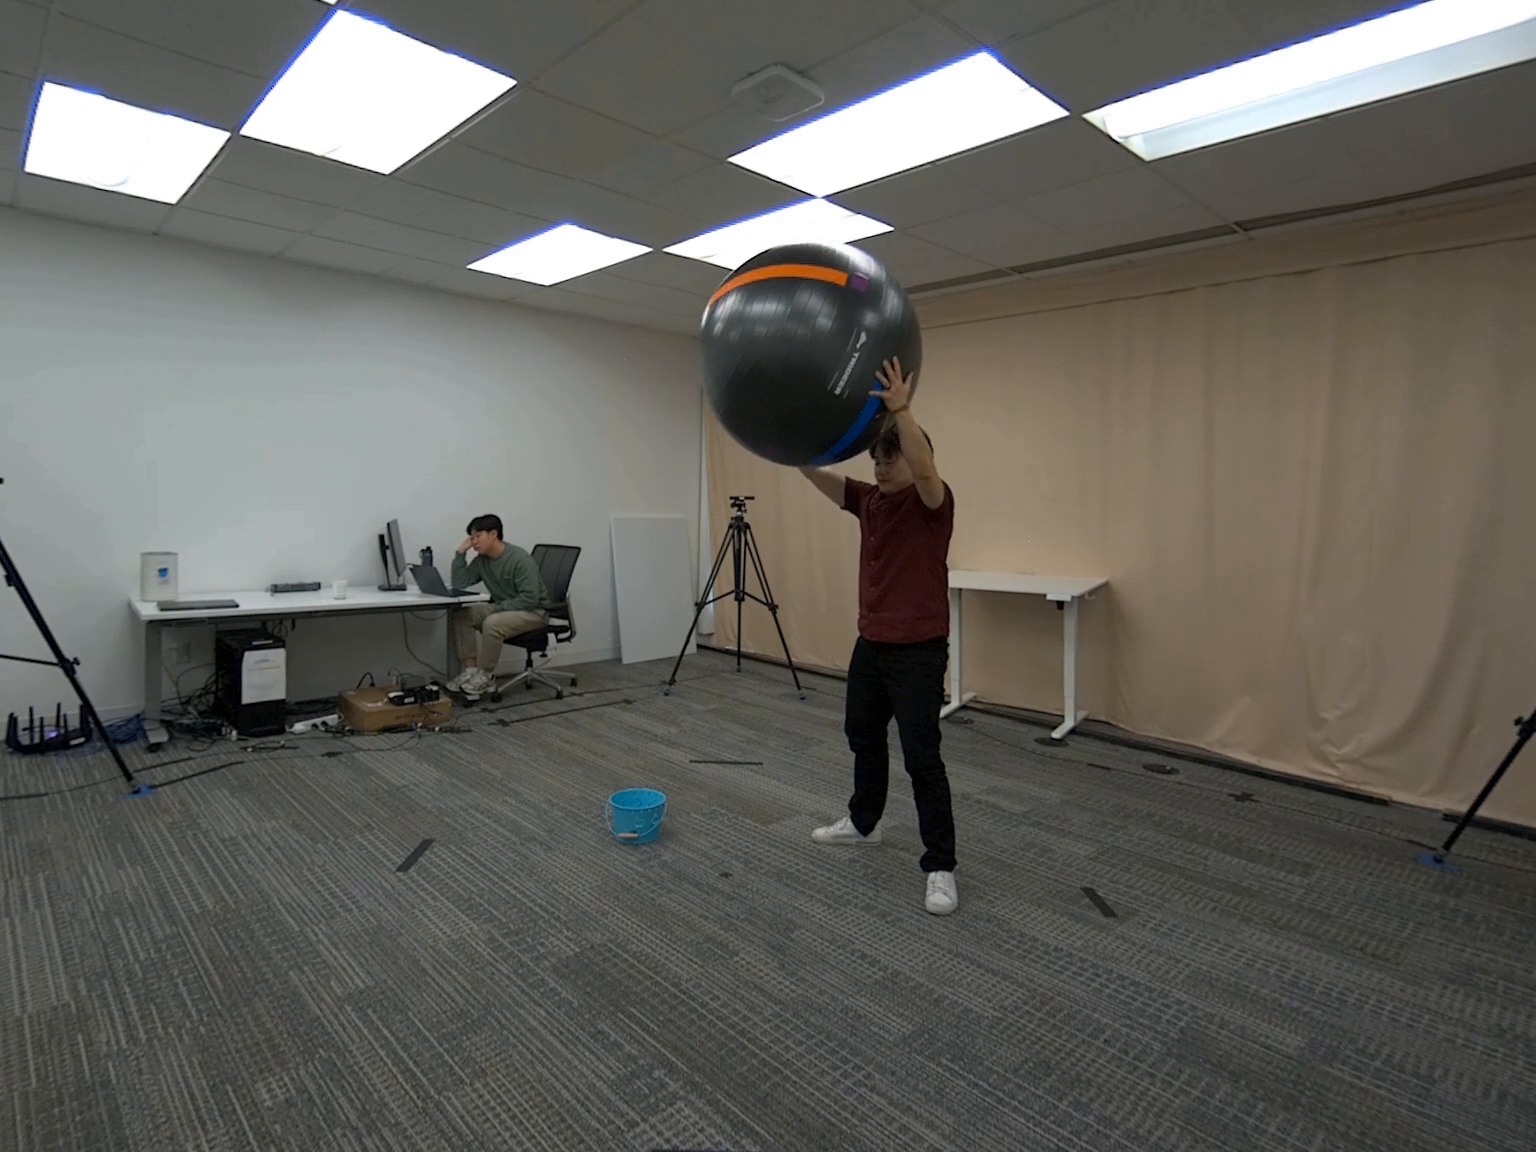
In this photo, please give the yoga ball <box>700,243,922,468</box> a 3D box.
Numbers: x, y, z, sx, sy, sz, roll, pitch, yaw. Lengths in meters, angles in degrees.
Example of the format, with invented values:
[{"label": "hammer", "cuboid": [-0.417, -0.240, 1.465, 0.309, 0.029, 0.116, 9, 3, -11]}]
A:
[{"label": "yoga ball", "cuboid": [0.129, -0.736, 2.881, 0.757, 0.756, 0.761, 1, 4, -1]}]
